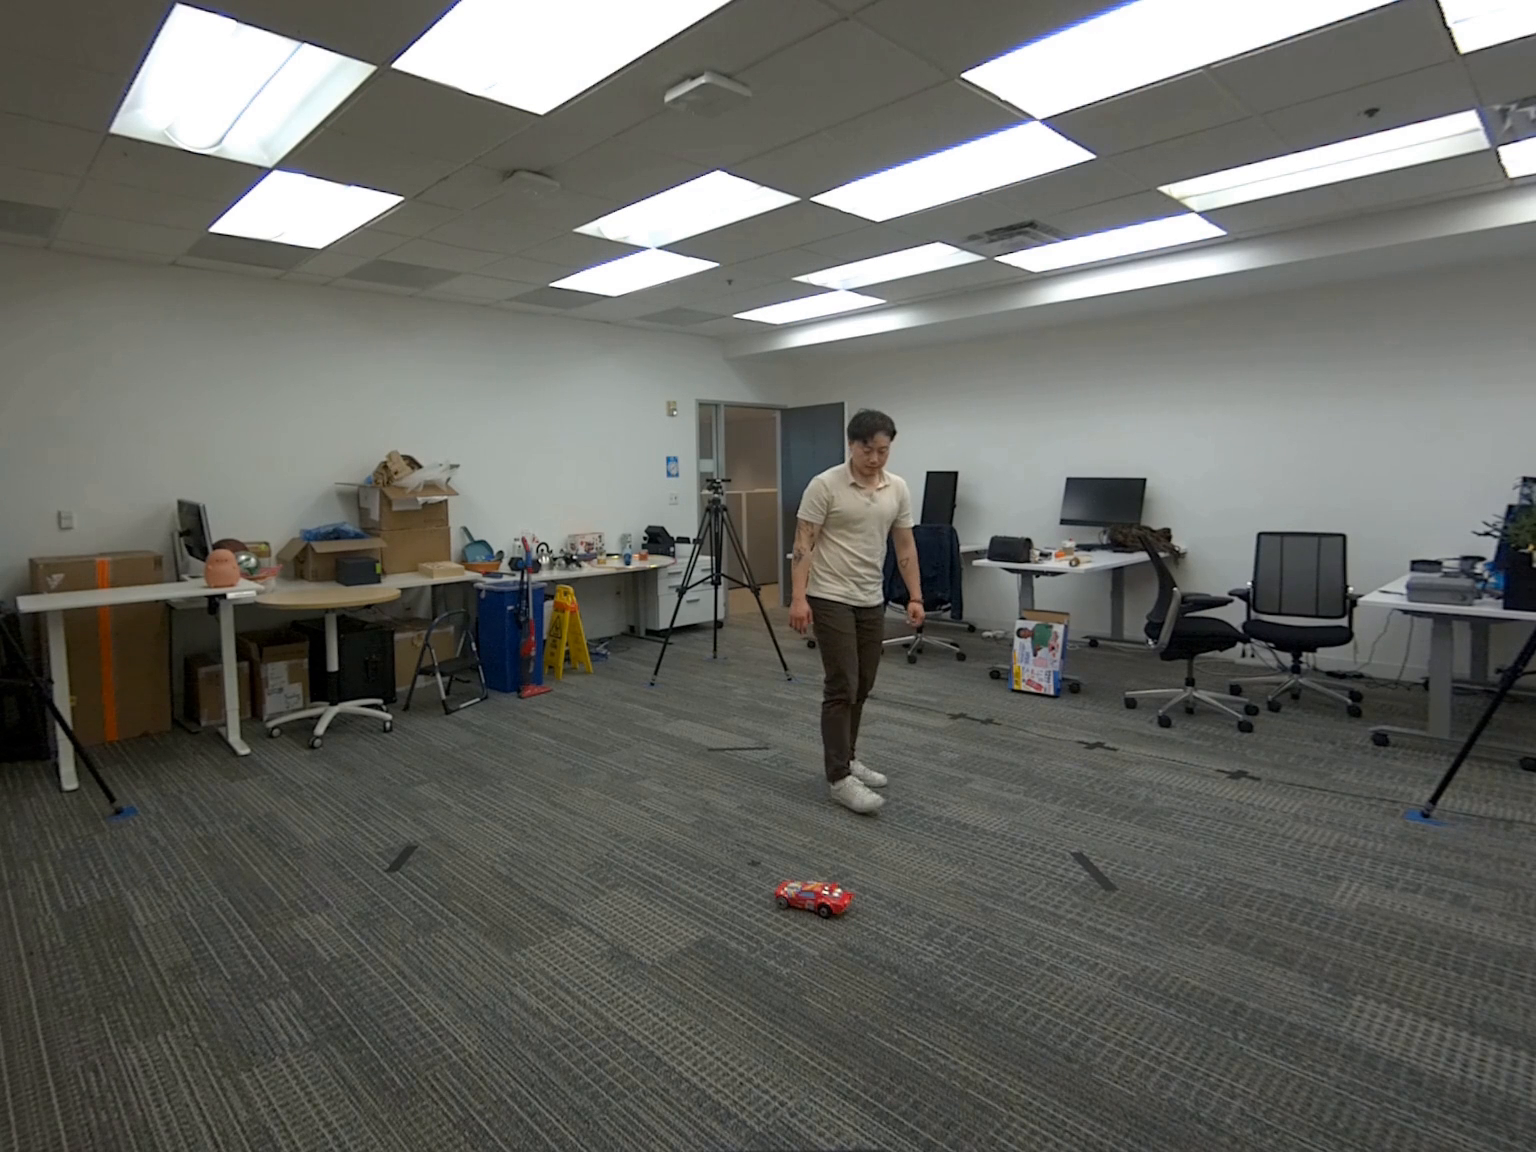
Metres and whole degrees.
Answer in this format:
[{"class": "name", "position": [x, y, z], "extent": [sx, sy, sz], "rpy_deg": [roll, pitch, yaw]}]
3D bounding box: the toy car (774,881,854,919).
[{"class": "toy car", "position": [0.157, 1.044, 2.777], "extent": [0.259, 0.083, 0.128], "rpy_deg": [-10, 1, 26]}]
